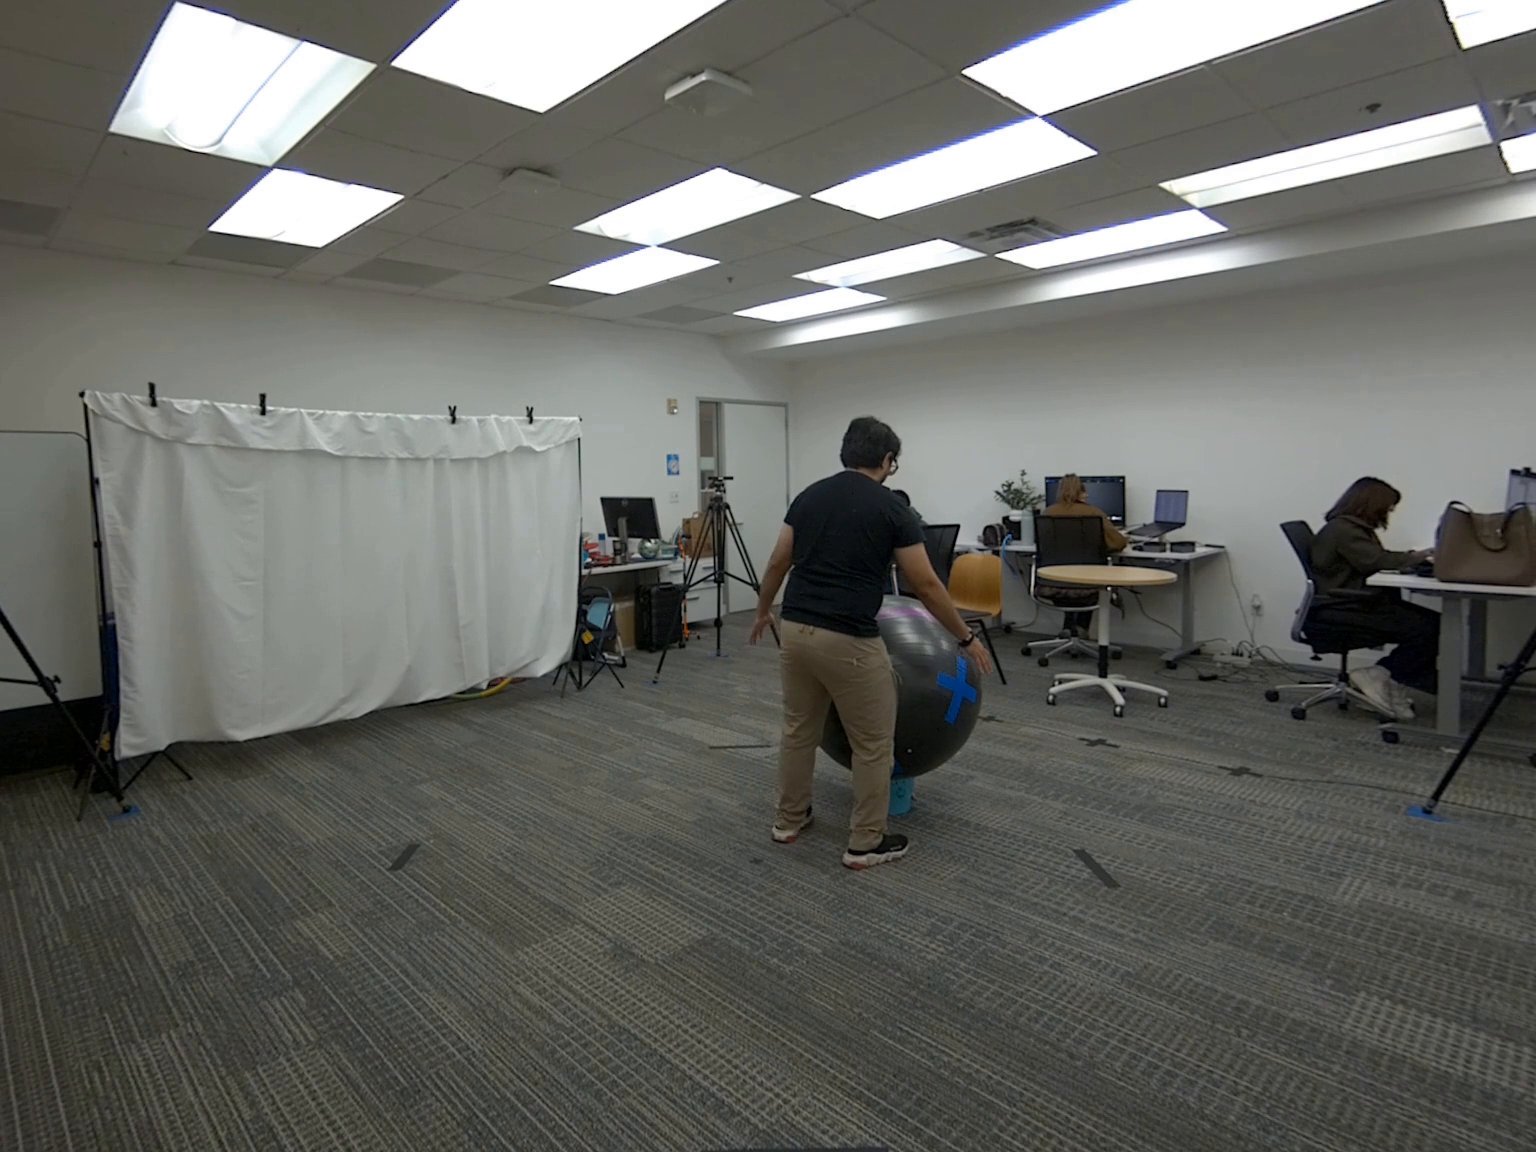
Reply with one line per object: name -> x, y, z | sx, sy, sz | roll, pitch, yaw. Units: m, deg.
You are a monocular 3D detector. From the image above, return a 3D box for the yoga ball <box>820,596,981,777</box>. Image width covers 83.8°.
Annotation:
yoga ball -> 0.503, 0.470, 3.574 | 0.757, 0.755, 0.762 | -1, 5, -2
